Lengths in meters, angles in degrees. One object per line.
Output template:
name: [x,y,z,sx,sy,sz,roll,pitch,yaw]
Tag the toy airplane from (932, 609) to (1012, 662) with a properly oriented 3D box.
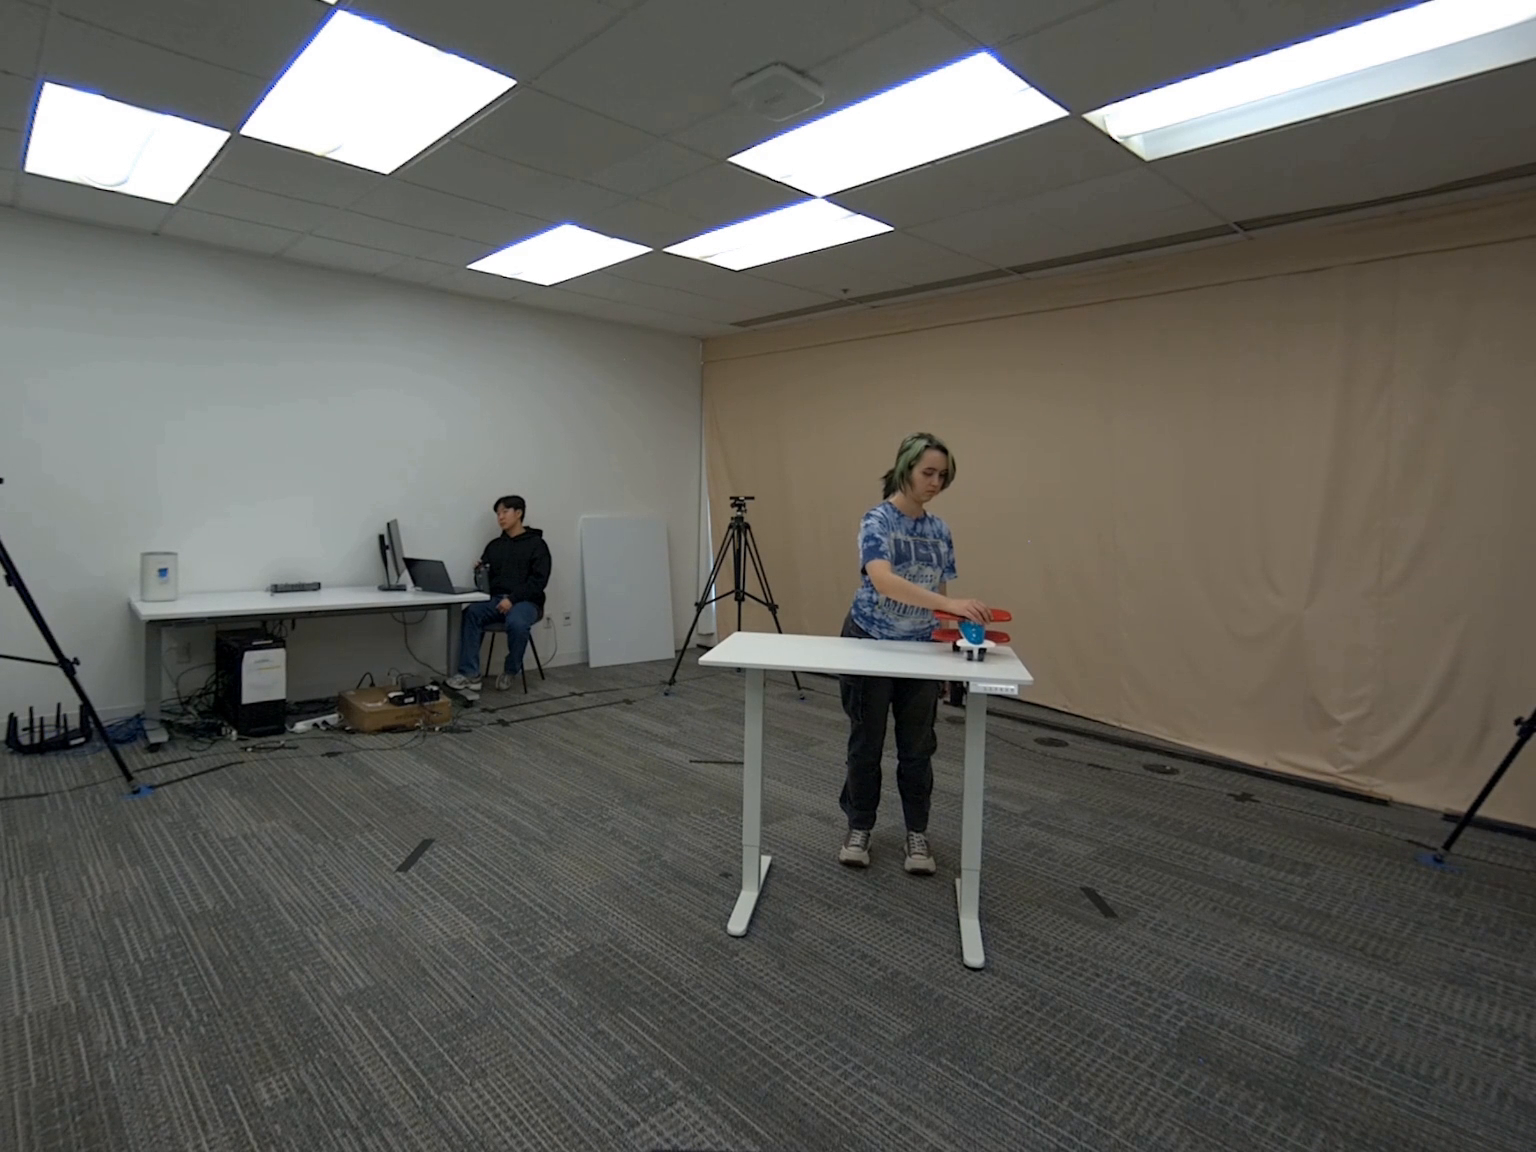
toy airplane: [0.688,0.191,2.811,0.247,0.156,0.264,-1,4,-22]
